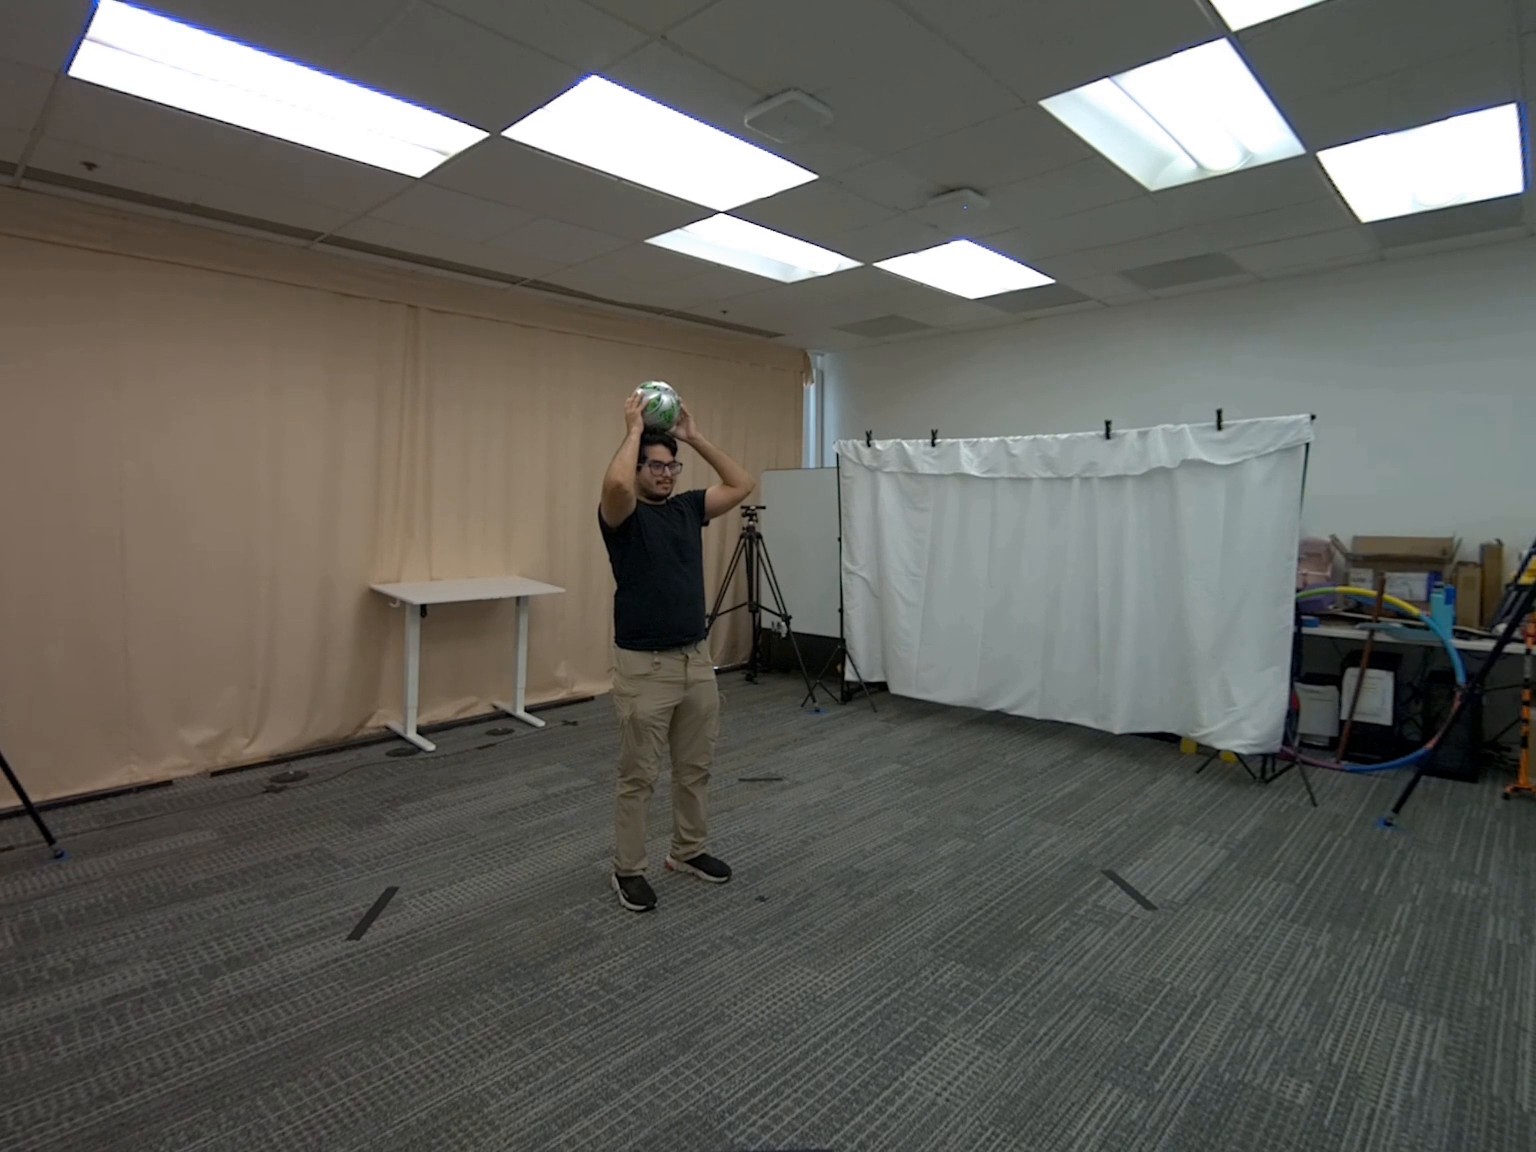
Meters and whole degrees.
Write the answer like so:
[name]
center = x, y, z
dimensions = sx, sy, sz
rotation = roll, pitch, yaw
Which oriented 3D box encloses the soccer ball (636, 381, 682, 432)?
[soccer ball]
center = -0.400, -0.591, 2.973
dimensions = 0.187, 0.187, 0.188
rotation = 0, 4, -2
